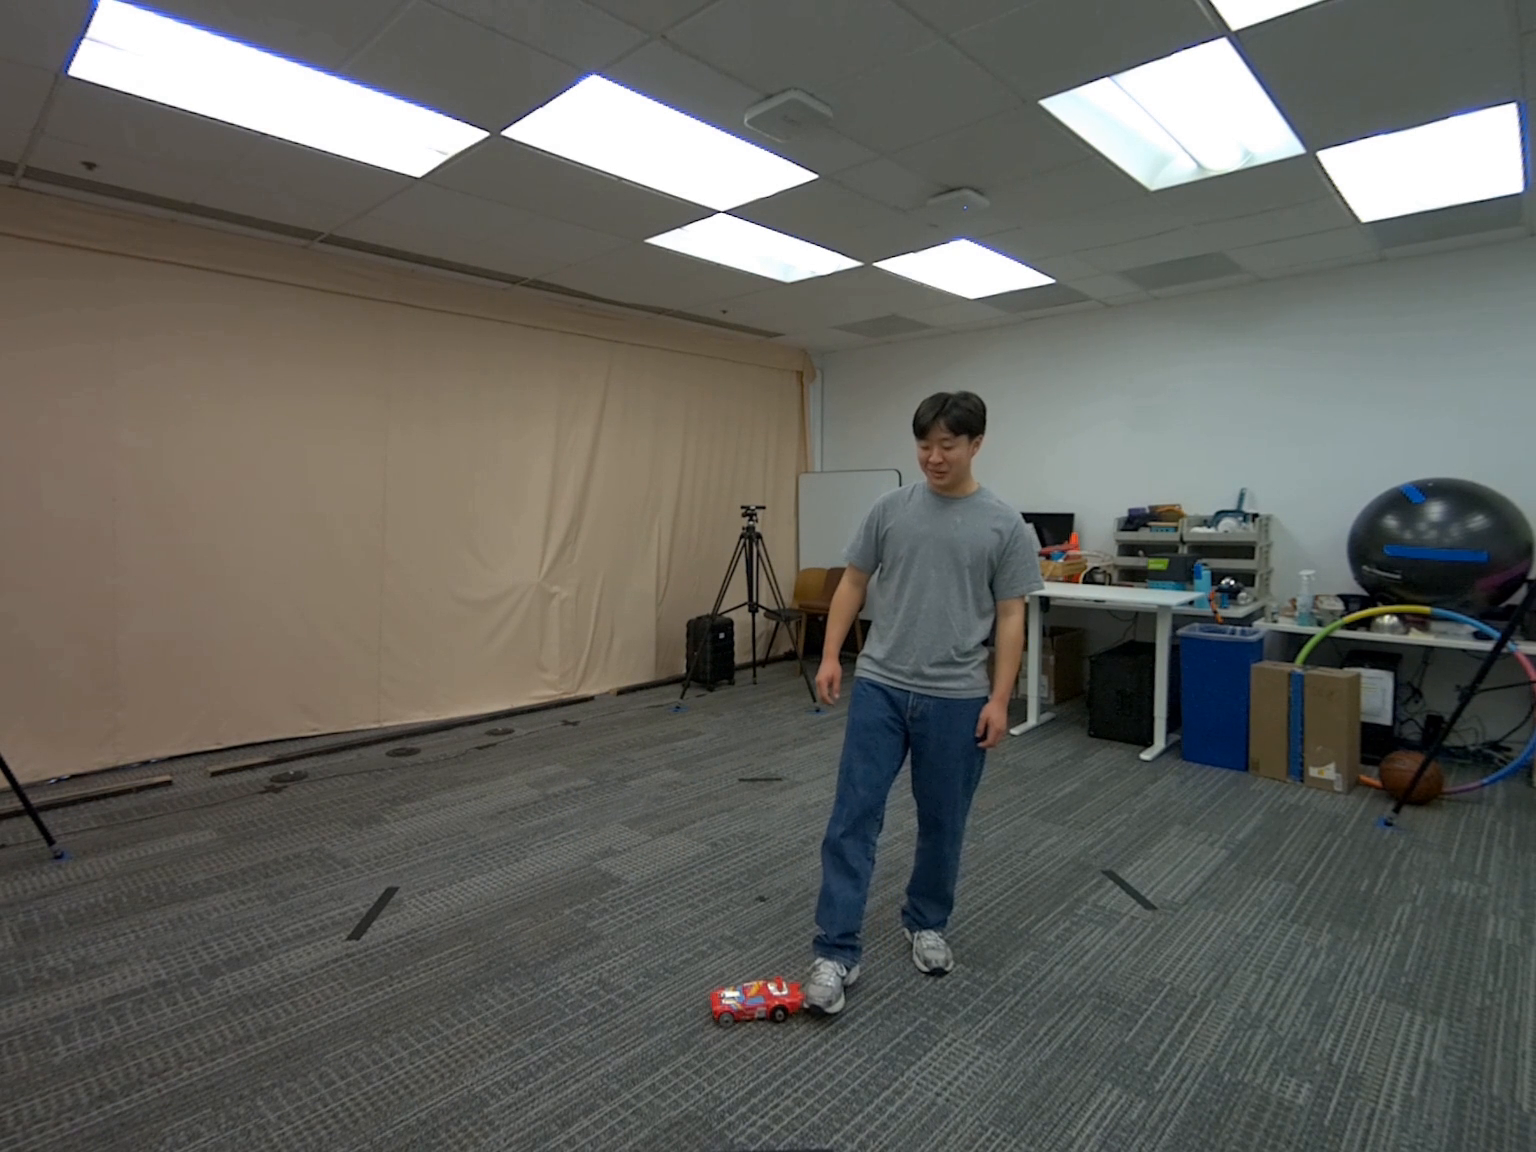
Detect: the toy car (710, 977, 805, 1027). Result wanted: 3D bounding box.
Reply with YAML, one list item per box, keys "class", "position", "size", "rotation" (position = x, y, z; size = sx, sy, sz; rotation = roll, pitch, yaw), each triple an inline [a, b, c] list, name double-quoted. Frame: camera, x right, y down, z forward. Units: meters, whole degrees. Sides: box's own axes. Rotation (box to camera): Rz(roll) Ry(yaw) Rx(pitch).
- class: "toy car"
  position: [-0.021, 1.174, 2.304]
  size: [0.253, 0.083, 0.131]
  rotation: [-12, 5, -6]
